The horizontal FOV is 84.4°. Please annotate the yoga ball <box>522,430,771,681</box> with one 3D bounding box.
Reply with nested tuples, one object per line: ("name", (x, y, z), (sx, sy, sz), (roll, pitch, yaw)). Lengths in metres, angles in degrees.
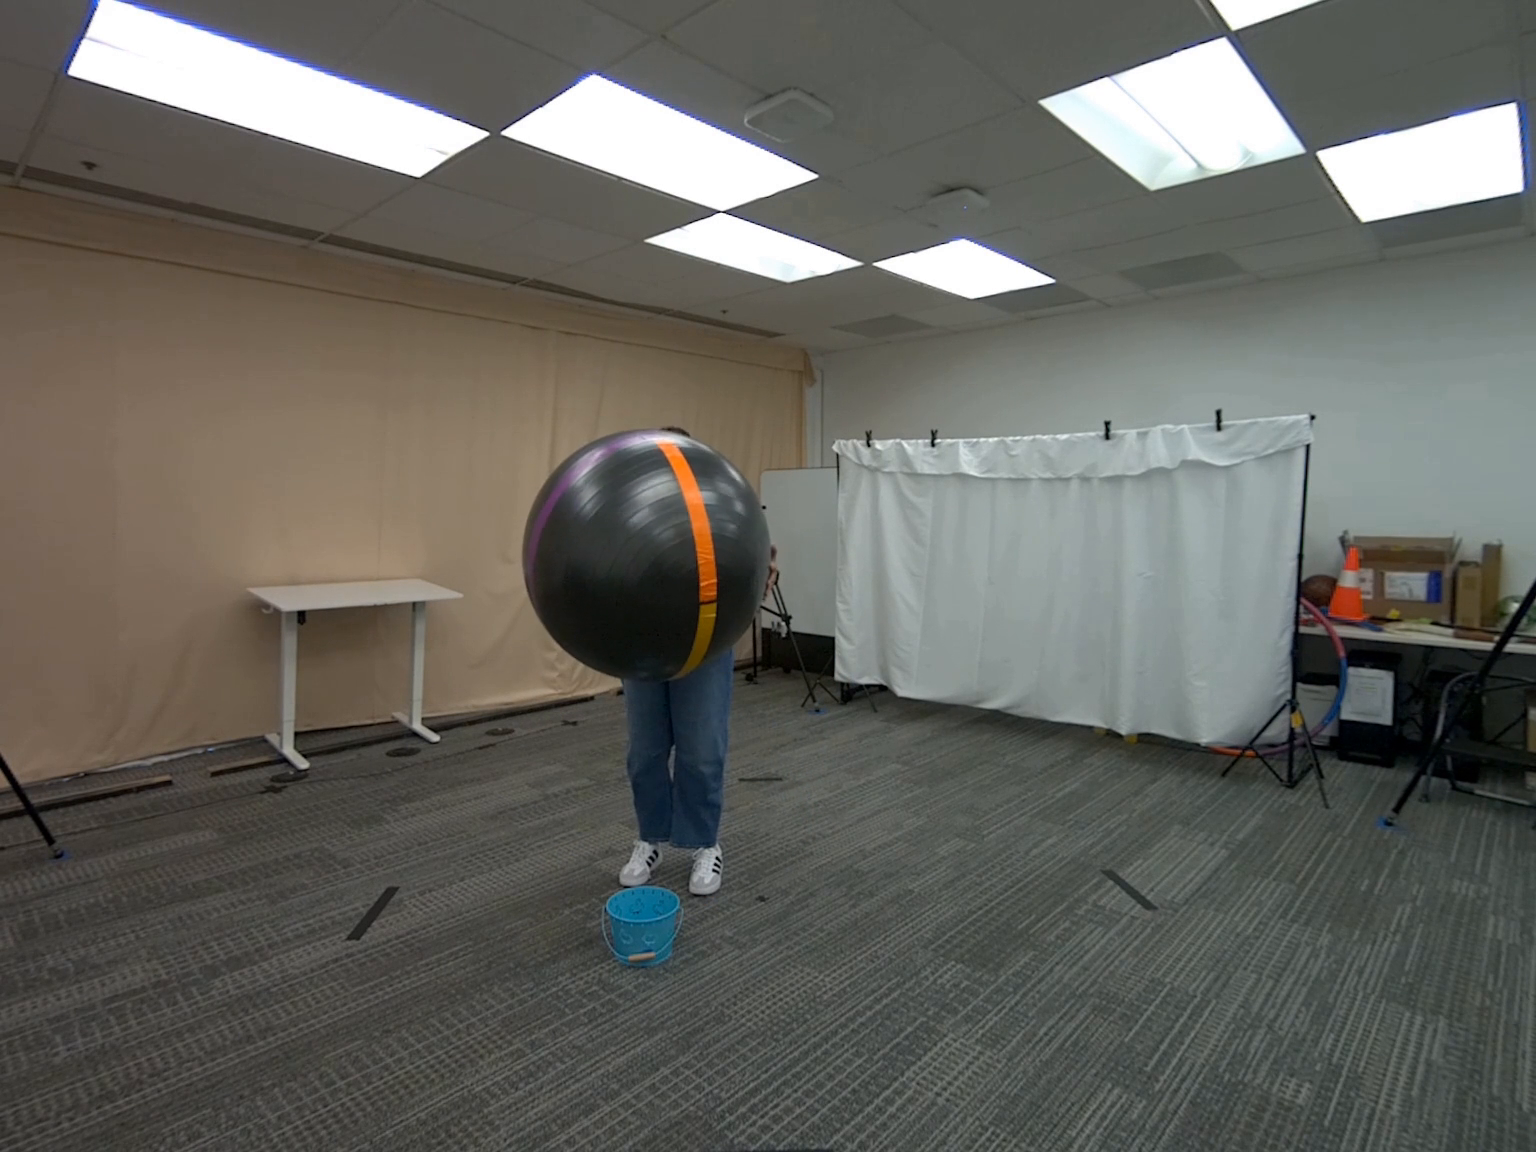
("yoga ball", (-0.370, -0.052, 2.557), (0.757, 0.756, 0.761), (0, 4, -2))
